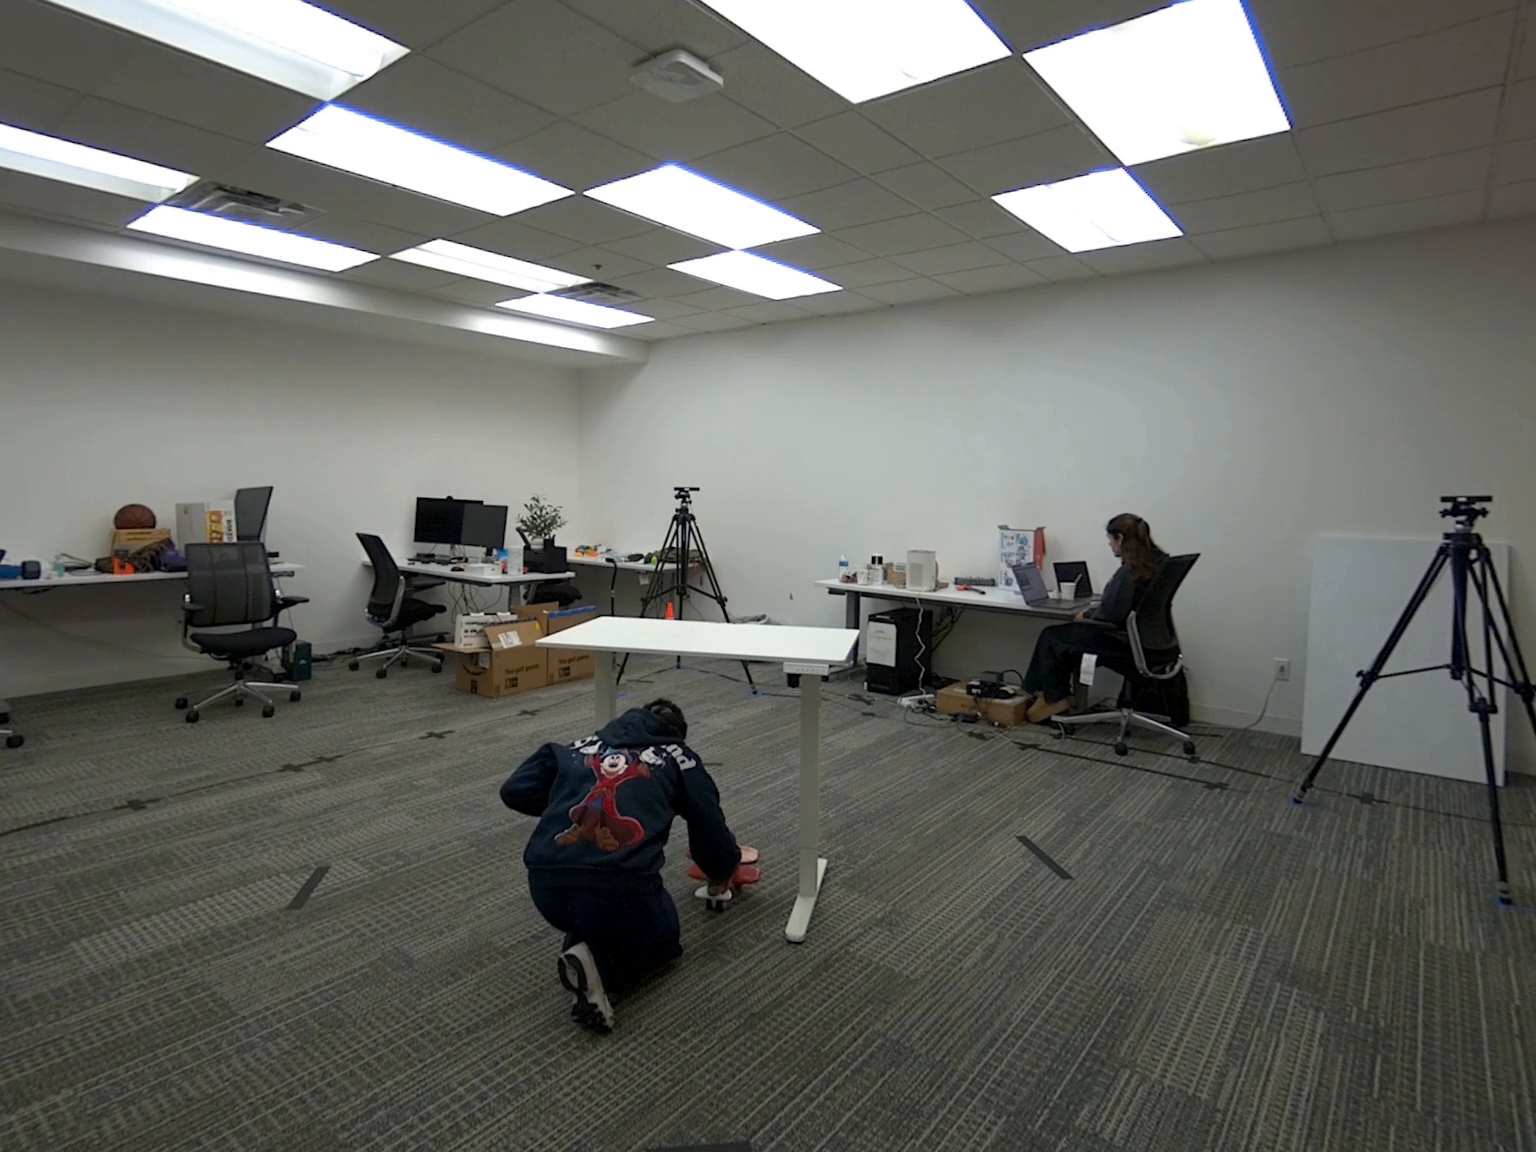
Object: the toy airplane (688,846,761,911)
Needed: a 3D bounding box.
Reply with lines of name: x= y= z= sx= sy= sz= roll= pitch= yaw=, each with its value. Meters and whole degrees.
toy airplane: x=-0.135 y=1.010 z=2.895 sx=0.247 sy=0.156 sz=0.264 roll=-4 pitch=5 yaw=-17
